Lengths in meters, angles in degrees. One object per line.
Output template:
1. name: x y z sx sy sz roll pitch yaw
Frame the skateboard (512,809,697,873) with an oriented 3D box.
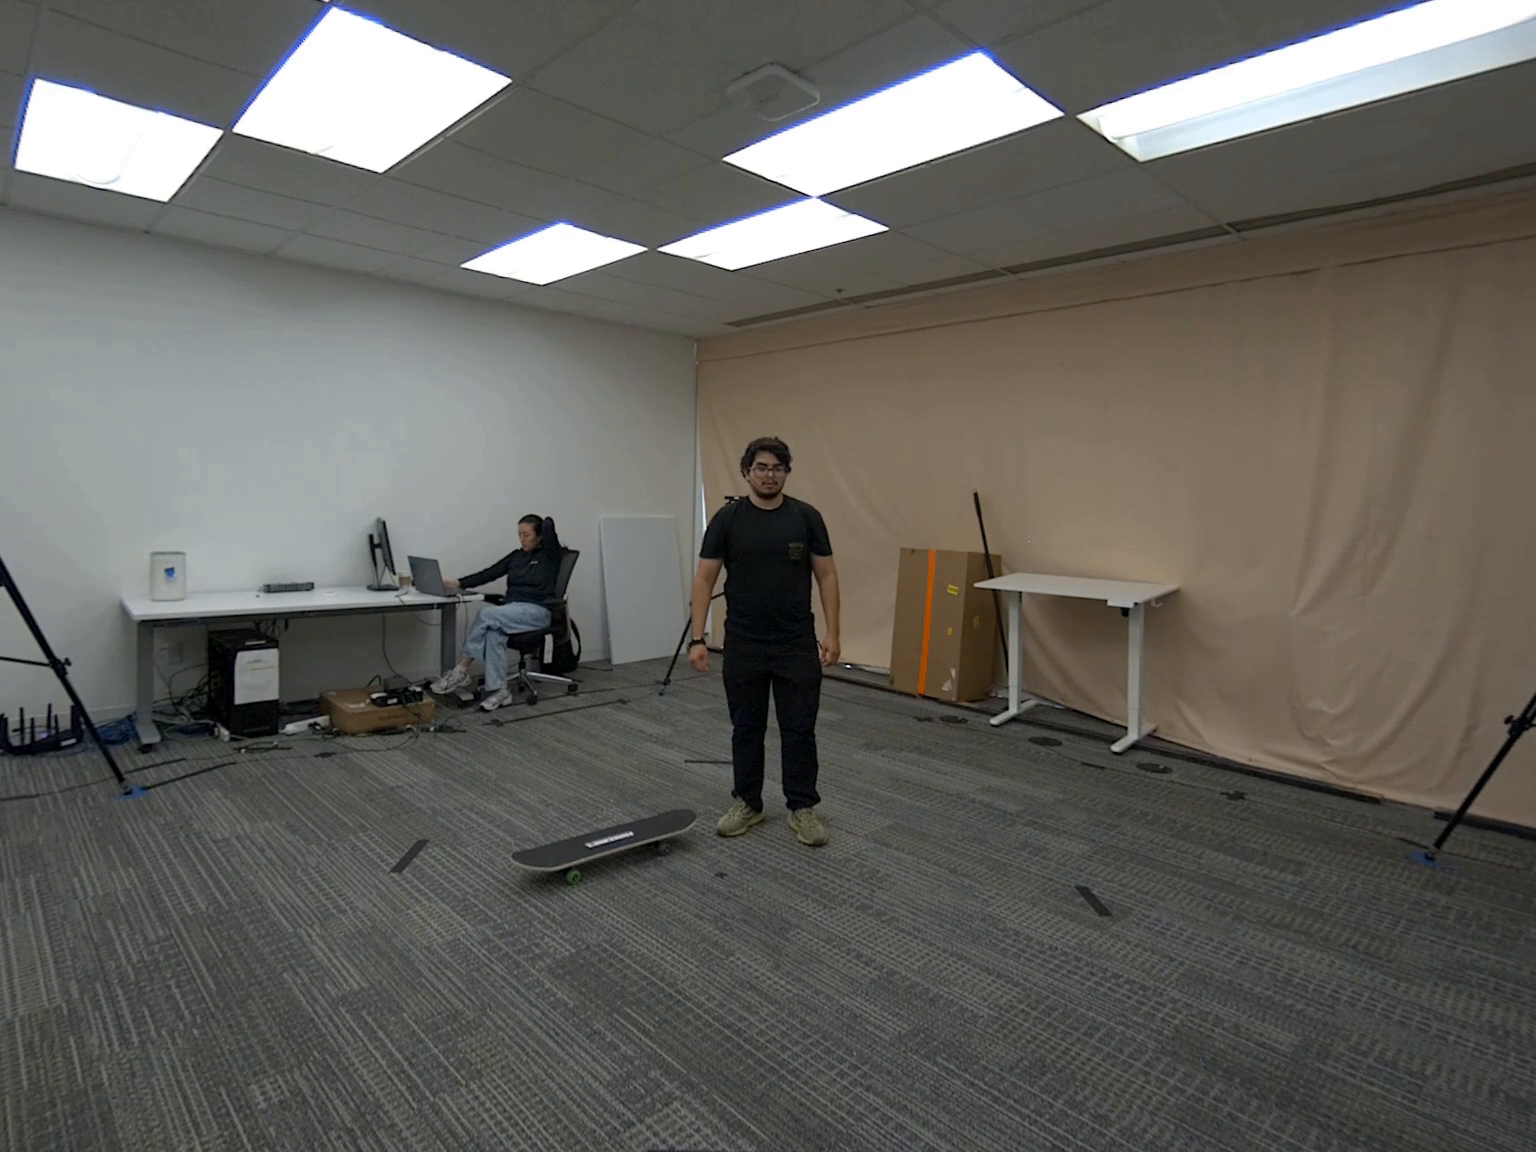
1. skateboard: -0.605 1.030 3.190 0.767 0.110 0.198 -3 6 -42
